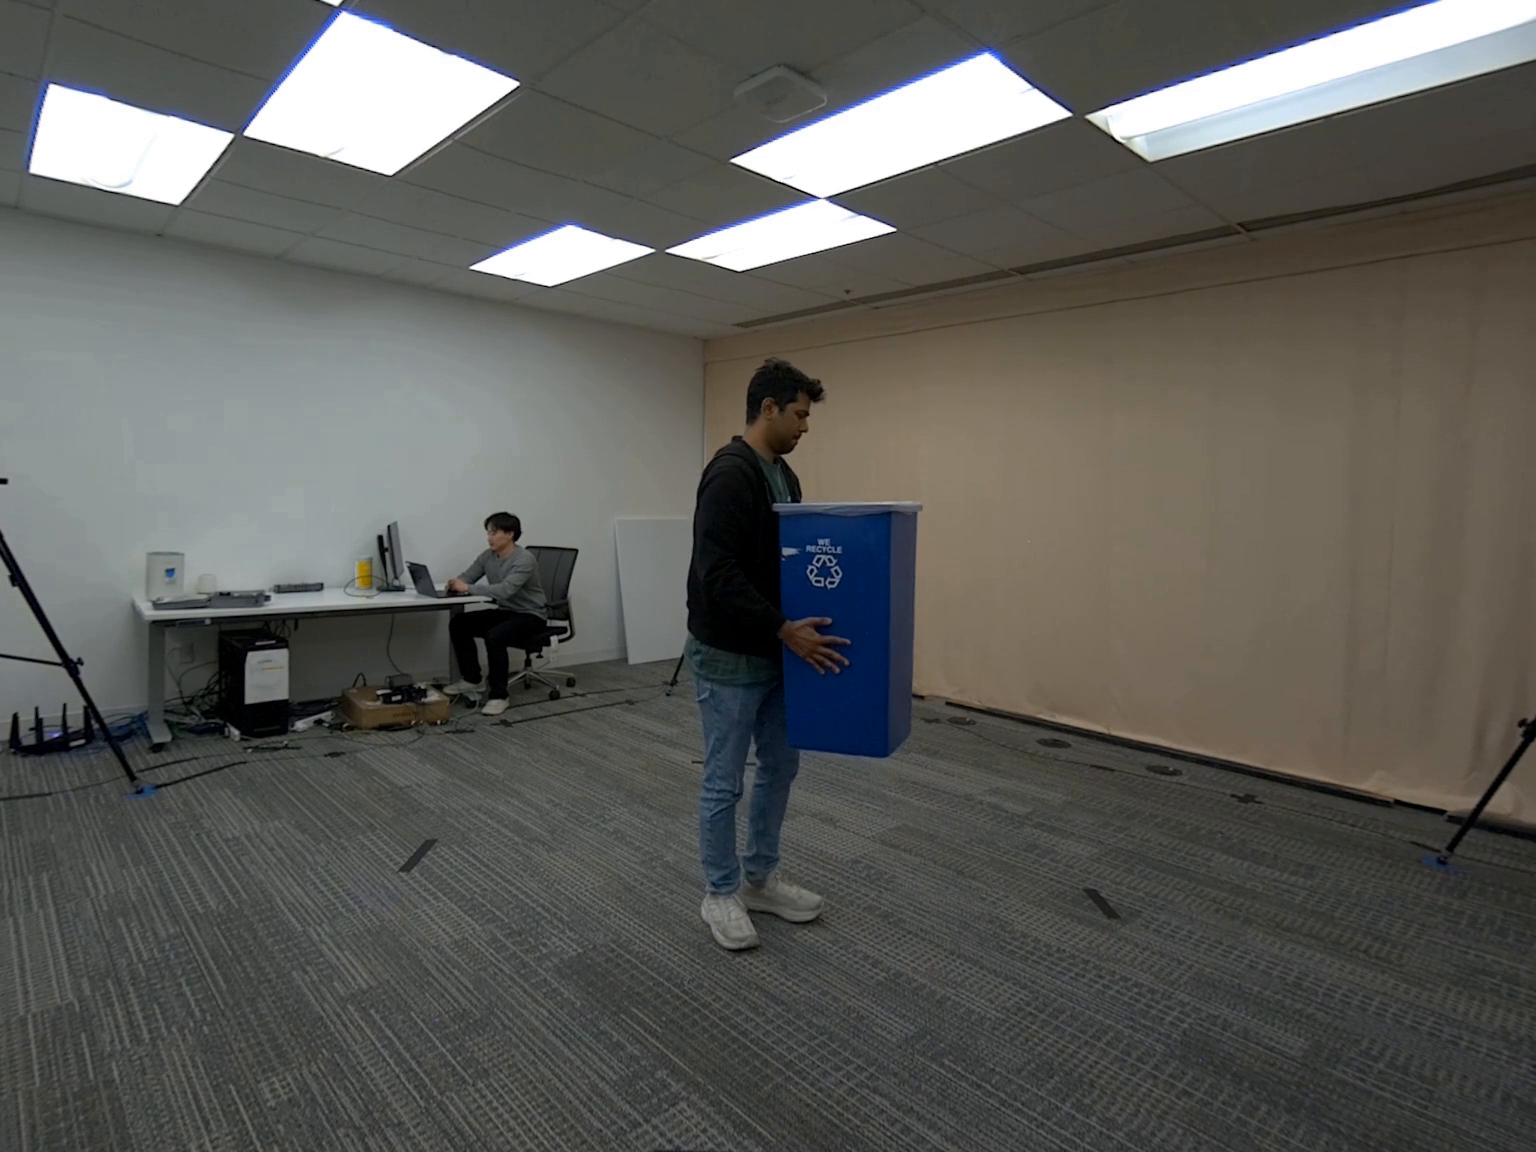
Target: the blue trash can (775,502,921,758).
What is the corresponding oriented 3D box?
[{"bbox_3d":[0.249,0.137,2.518,0.380,0.712,0.372,0,2,23],"label":"blue trash can"}]
